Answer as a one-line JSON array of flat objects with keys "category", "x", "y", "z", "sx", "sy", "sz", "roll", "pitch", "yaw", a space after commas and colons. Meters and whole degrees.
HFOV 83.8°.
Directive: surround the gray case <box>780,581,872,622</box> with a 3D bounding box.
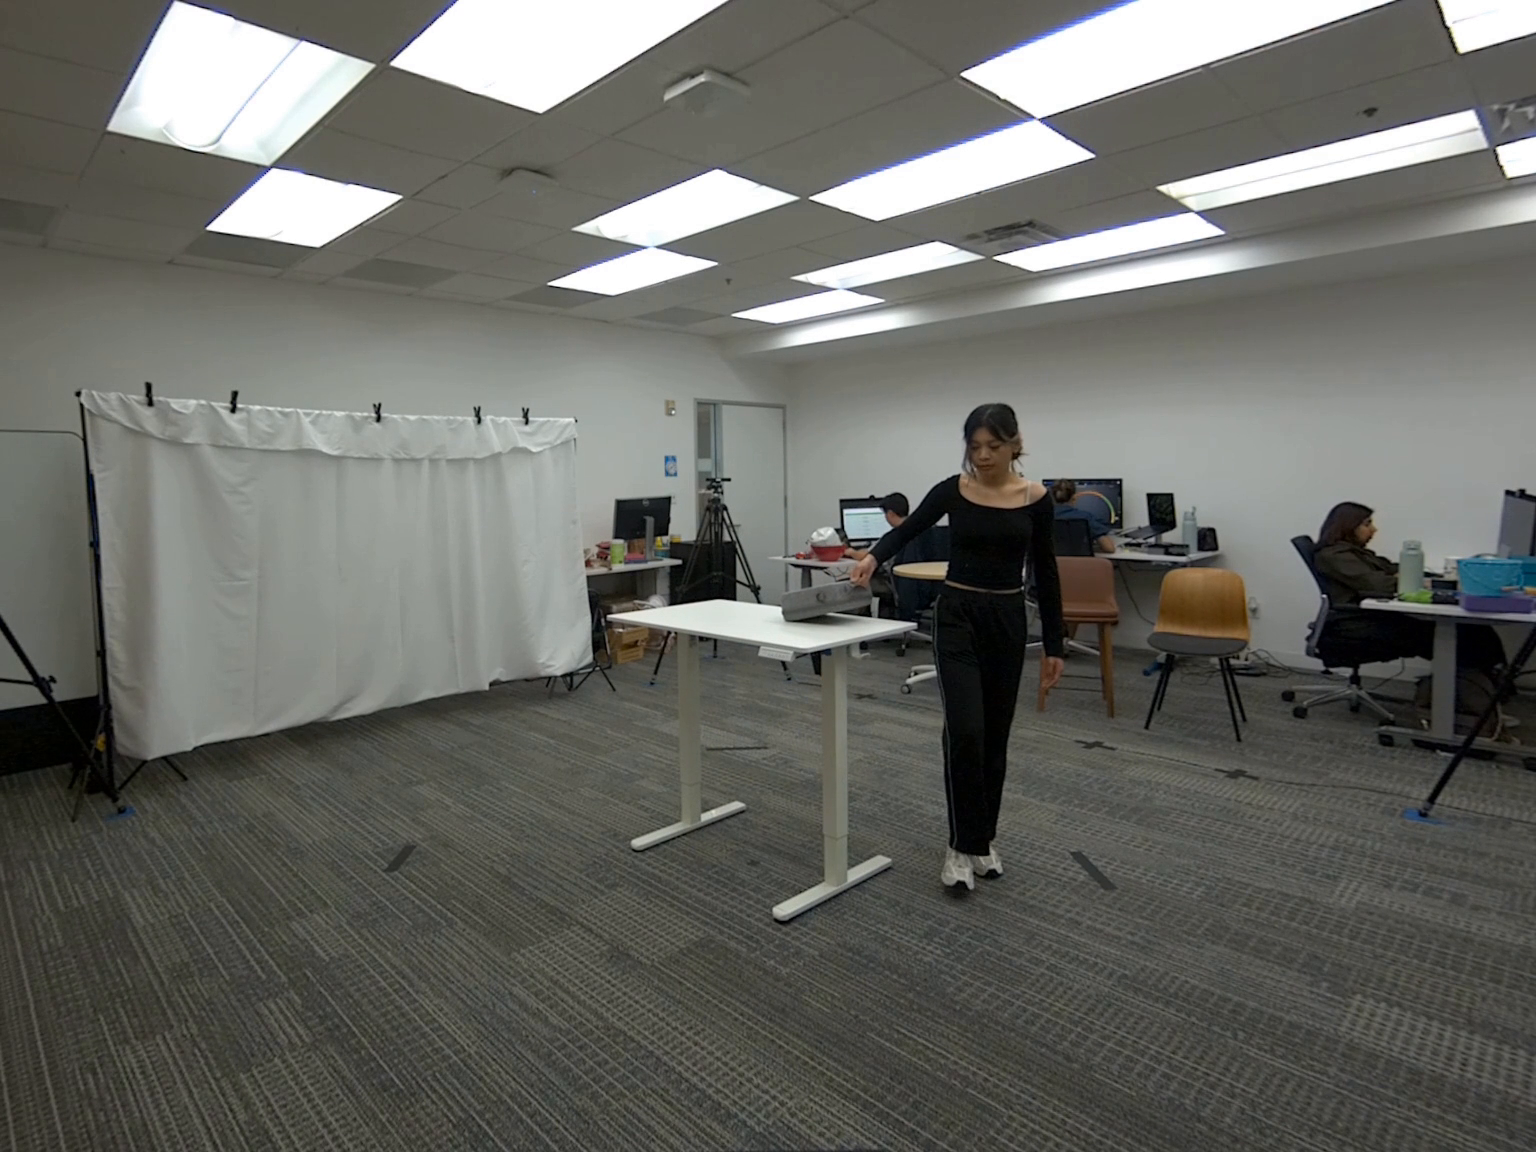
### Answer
[{"category": "gray case", "x": 0.207, "y": 0.083, "z": 3.064, "sx": 0.266, "sy": 0.105, "sz": 0.250, "roll": -13, "pitch": -4, "yaw": 39}]
